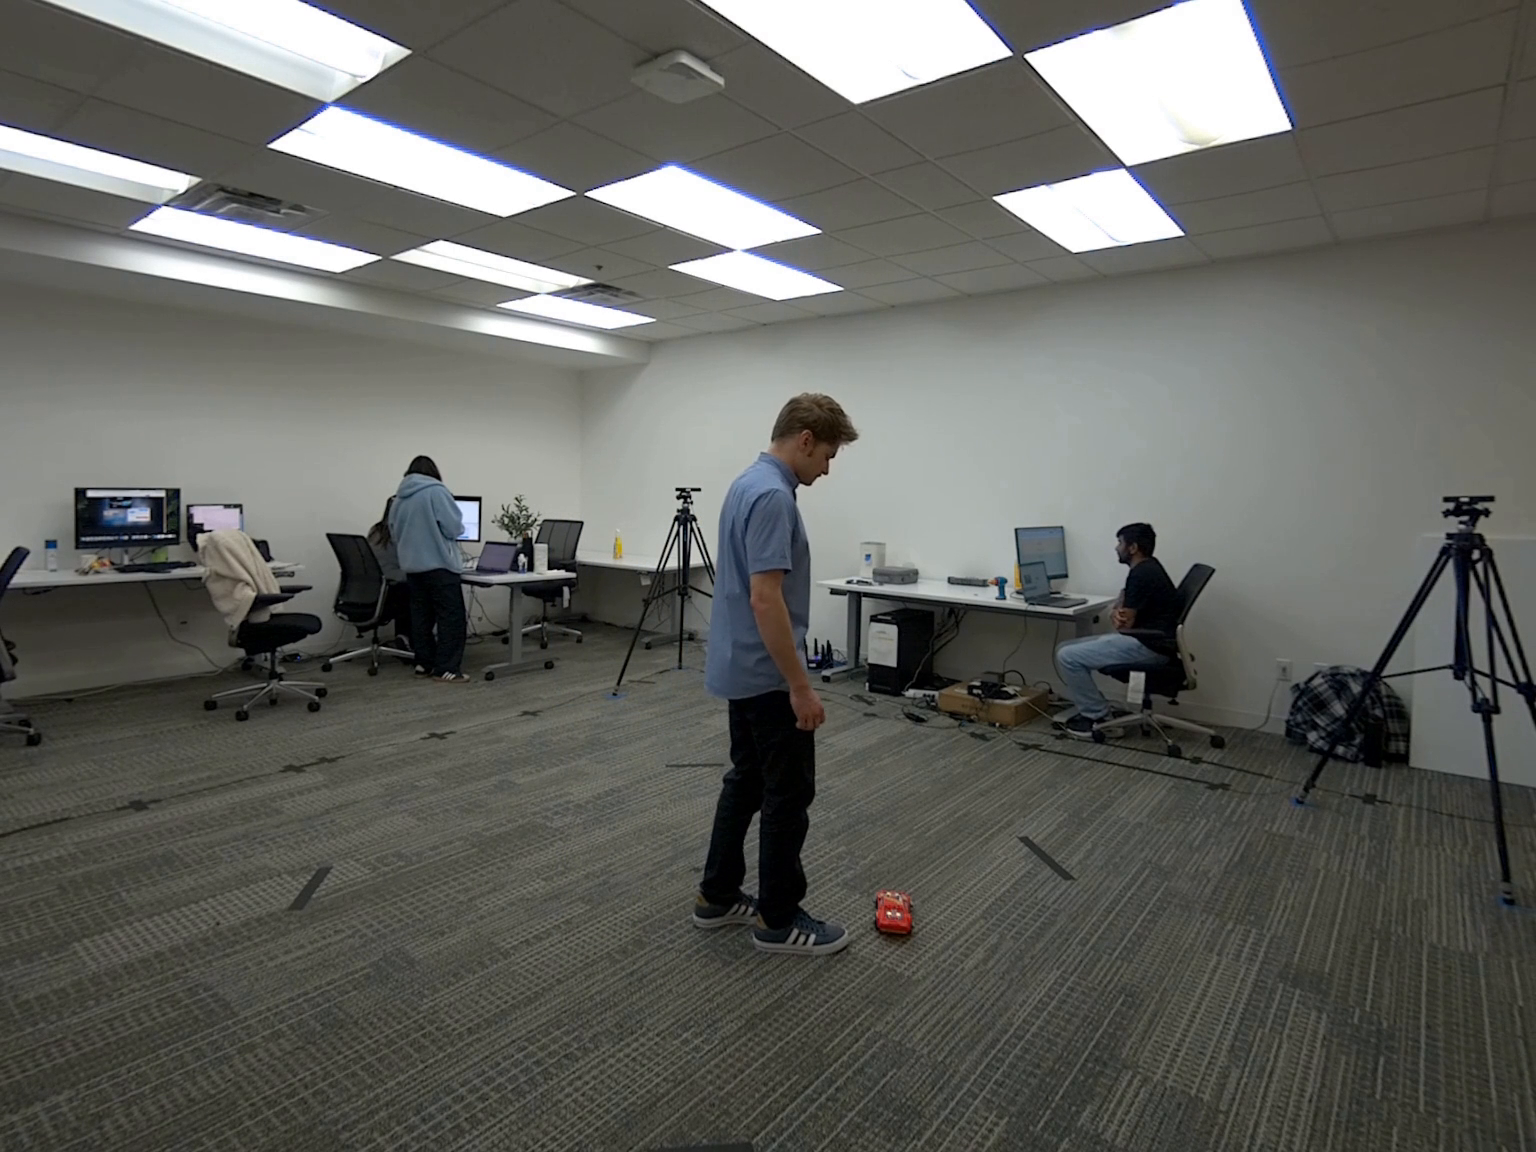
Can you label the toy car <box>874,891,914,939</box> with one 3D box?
[{"bbox_3d":[0.397,1.087,2.741,0.132,0.083,0.250,3,-4,8],"label":"toy car"}]
